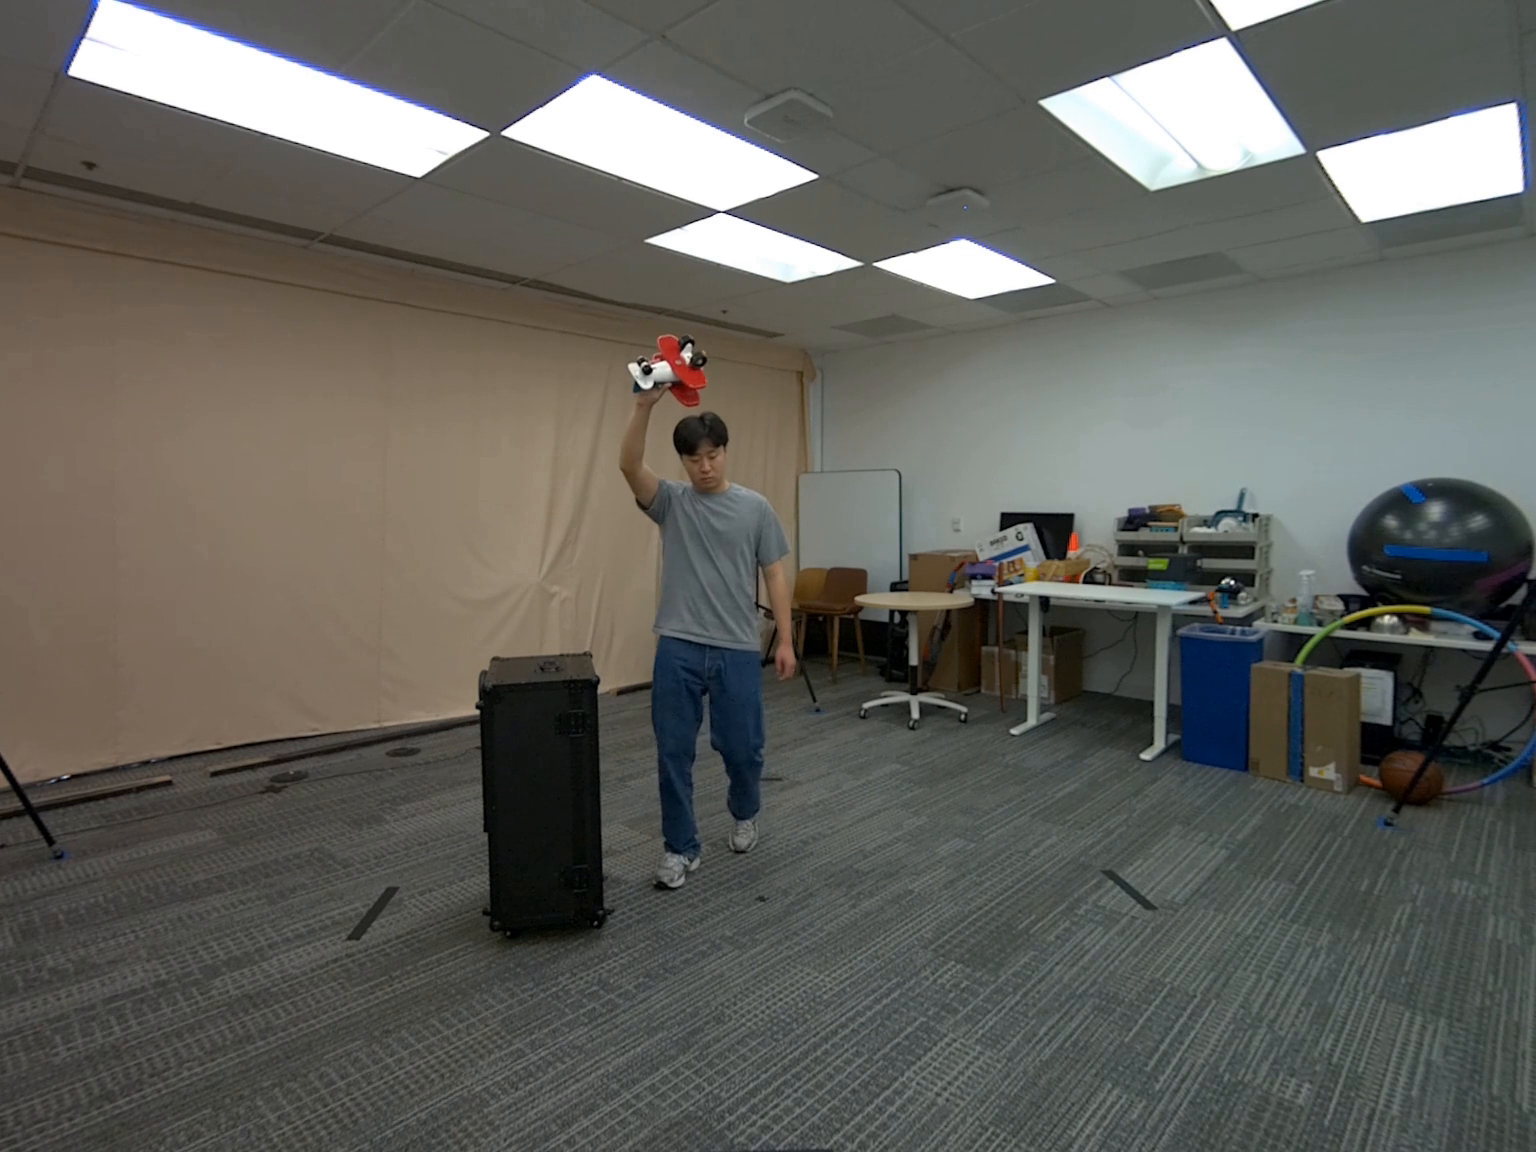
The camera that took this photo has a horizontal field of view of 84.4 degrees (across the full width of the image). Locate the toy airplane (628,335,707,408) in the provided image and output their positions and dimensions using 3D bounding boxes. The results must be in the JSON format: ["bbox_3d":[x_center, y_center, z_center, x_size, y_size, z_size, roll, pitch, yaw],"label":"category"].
[{"bbox_3d":[-0.330,-0.698,2.799,0.258,0.255,0.154,0,-31,-5],"label":"toy airplane"}]
